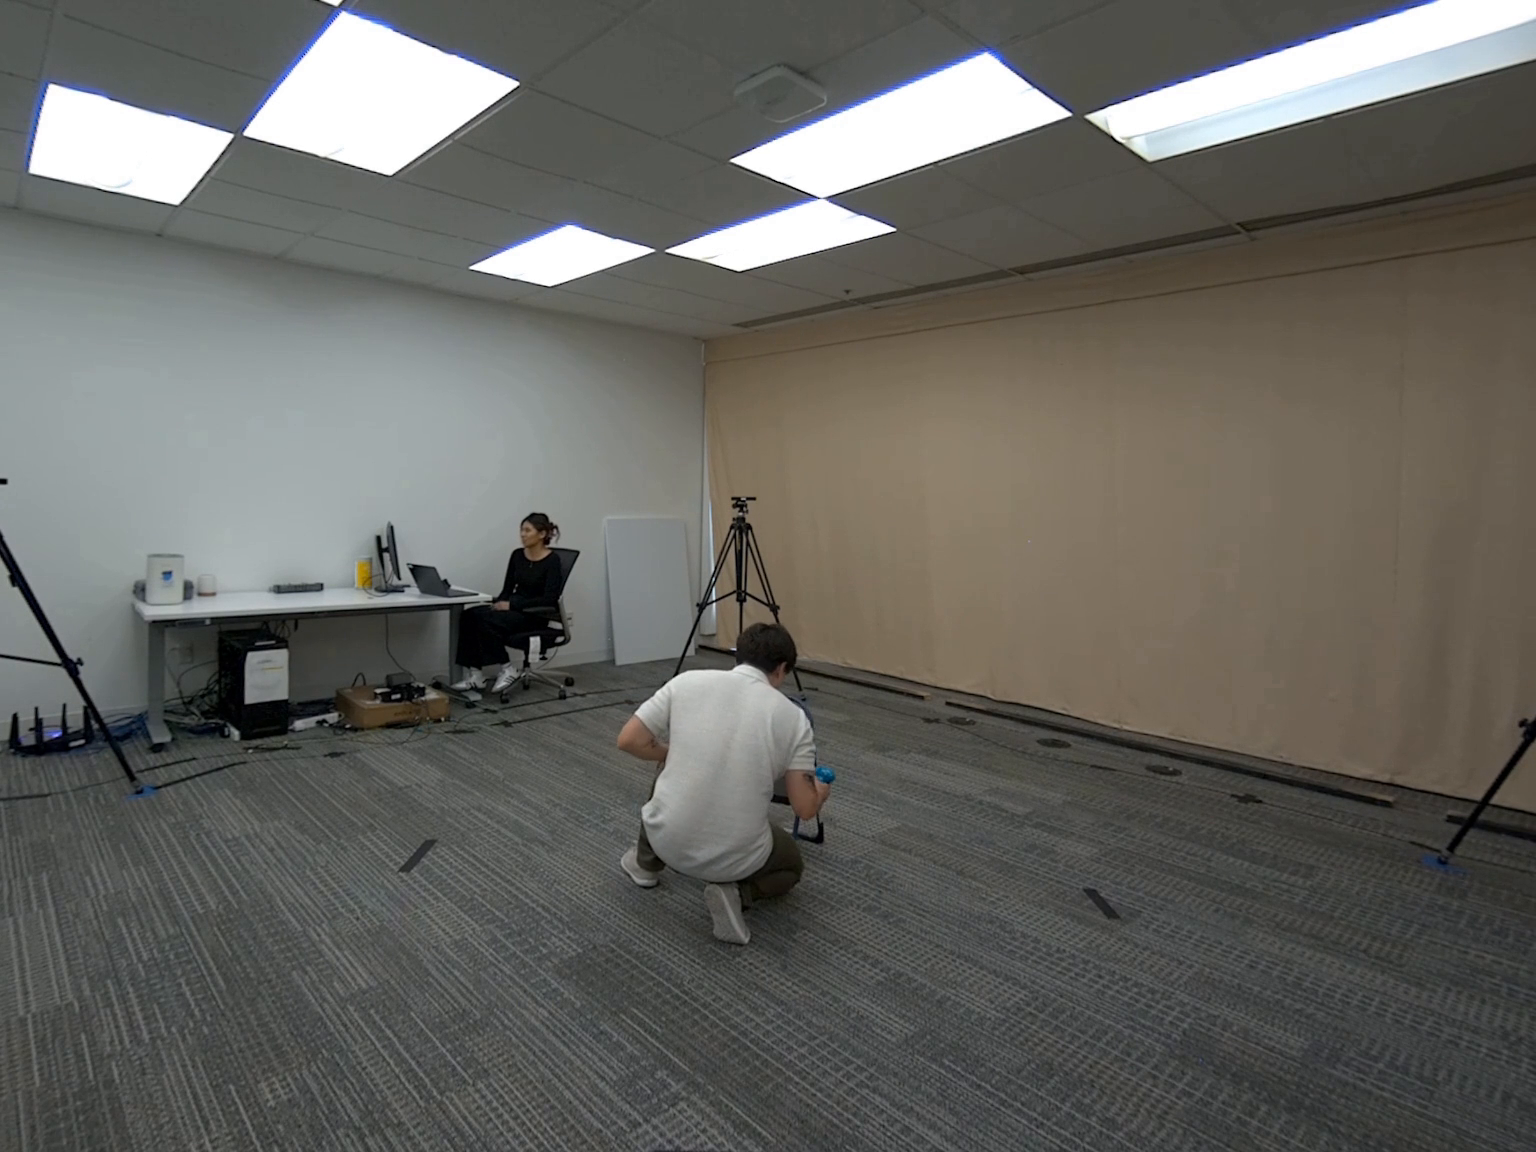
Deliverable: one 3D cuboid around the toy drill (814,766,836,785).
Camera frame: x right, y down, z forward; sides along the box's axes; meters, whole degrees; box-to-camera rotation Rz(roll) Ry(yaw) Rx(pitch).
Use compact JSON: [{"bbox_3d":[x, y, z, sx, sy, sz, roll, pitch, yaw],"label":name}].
[{"bbox_3d":[0.165,0.736,3.014,0.146,0.060,0.172,-45,12,-16],"label":"toy drill"}]
